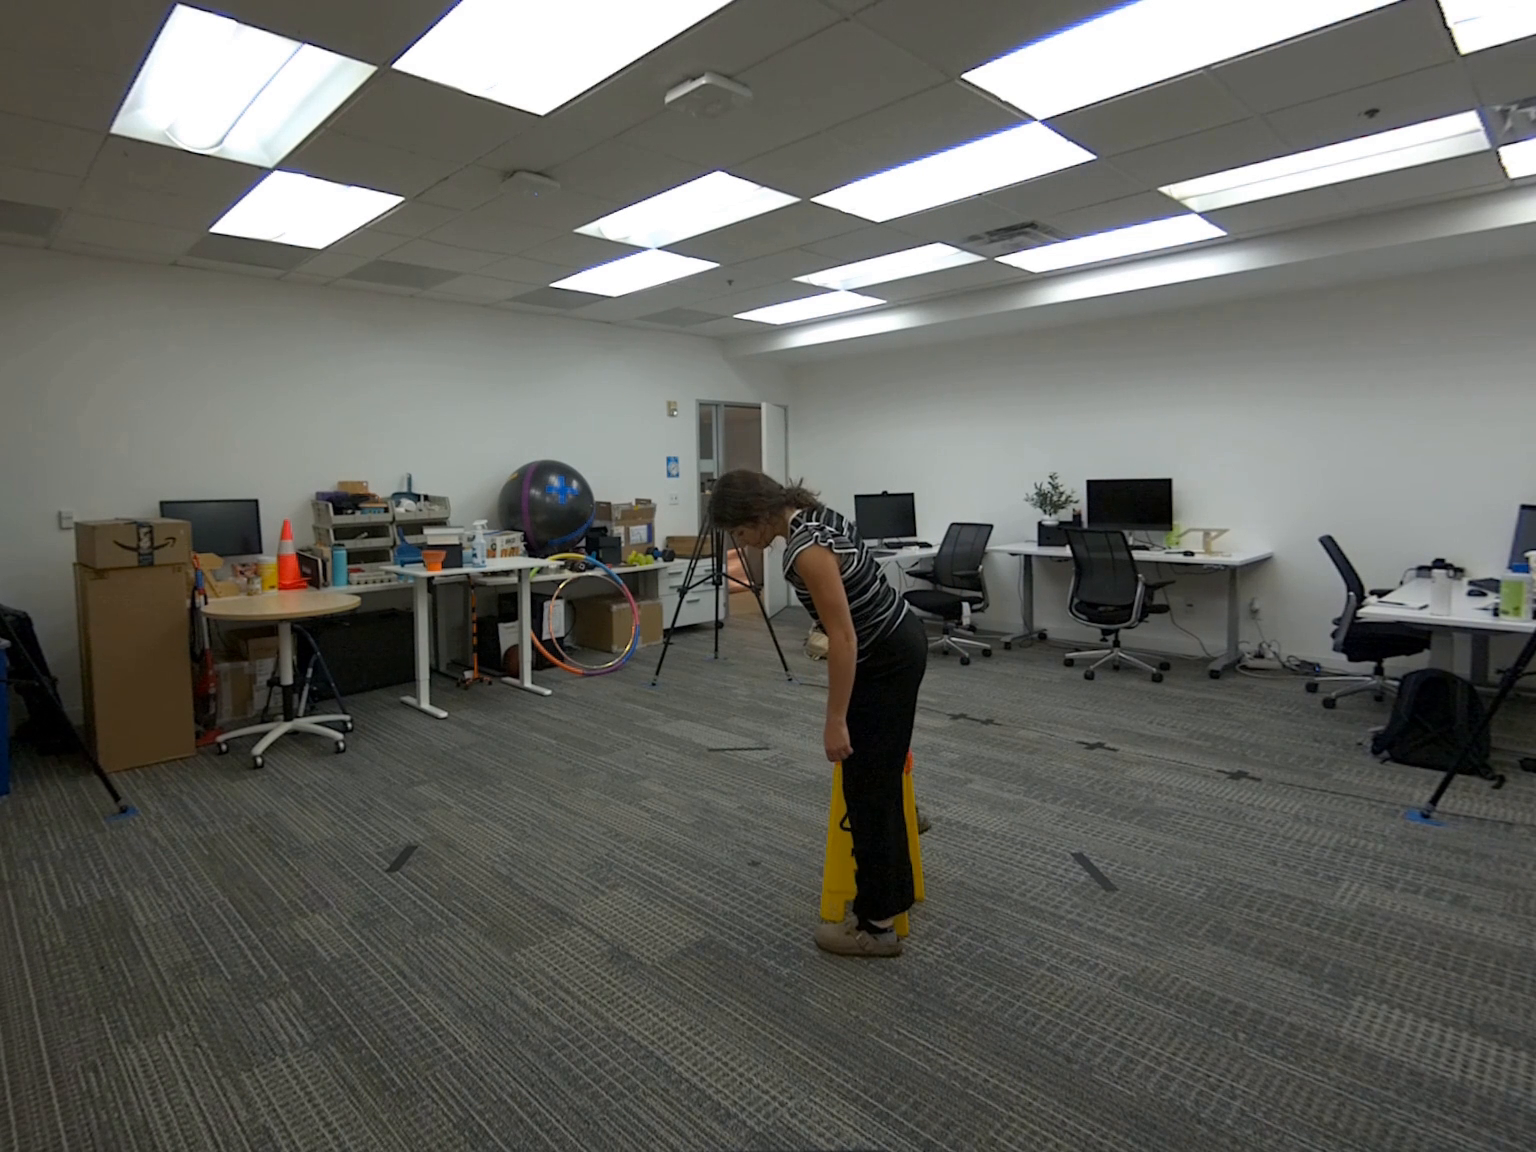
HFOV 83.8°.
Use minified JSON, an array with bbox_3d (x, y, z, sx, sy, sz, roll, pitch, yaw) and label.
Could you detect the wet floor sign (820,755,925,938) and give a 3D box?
[{"bbox_3d":[0.342,0.760,2.734,0.288,0.643,0.285,0,5,22],"label":"wet floor sign"}]
